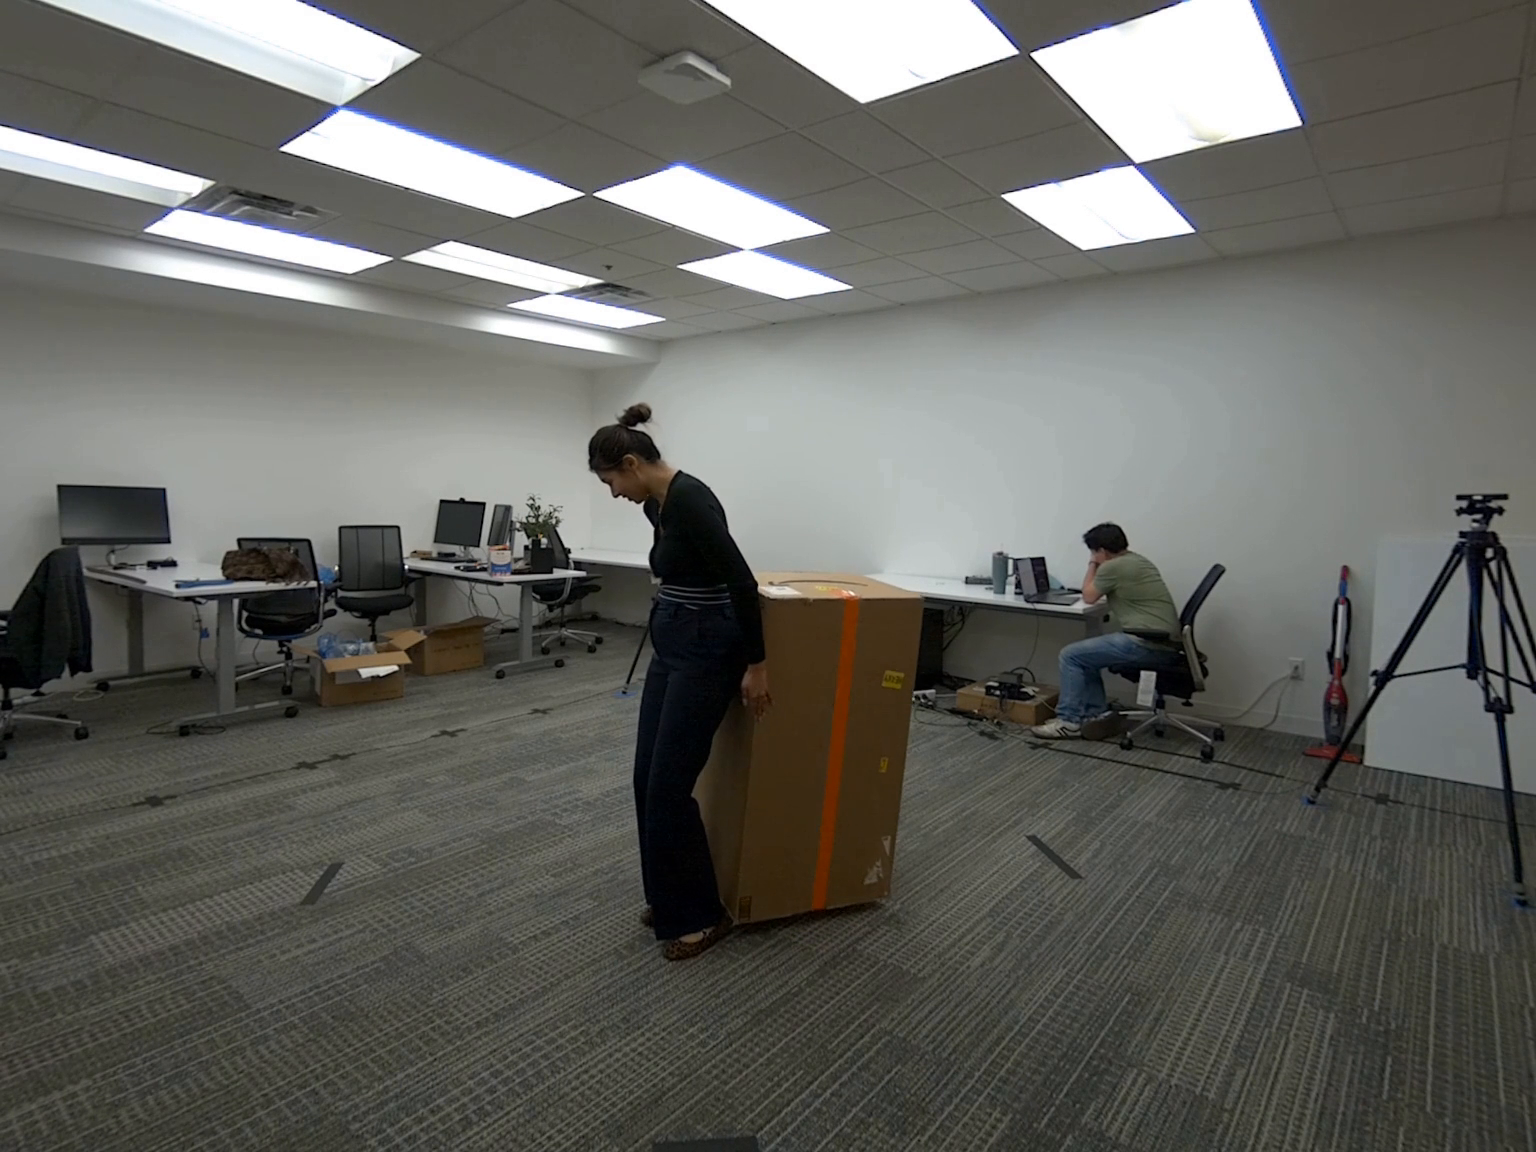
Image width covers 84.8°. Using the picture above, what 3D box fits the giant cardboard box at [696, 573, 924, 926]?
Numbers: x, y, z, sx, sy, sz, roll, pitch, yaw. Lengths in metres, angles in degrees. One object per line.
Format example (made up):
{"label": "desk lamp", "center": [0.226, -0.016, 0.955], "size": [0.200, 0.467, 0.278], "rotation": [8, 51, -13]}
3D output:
{"label": "giant cardboard box", "center": [0.104, 0.531, 2.854], "size": [0.563, 1.020, 0.440], "rotation": [2, 8, -26]}
